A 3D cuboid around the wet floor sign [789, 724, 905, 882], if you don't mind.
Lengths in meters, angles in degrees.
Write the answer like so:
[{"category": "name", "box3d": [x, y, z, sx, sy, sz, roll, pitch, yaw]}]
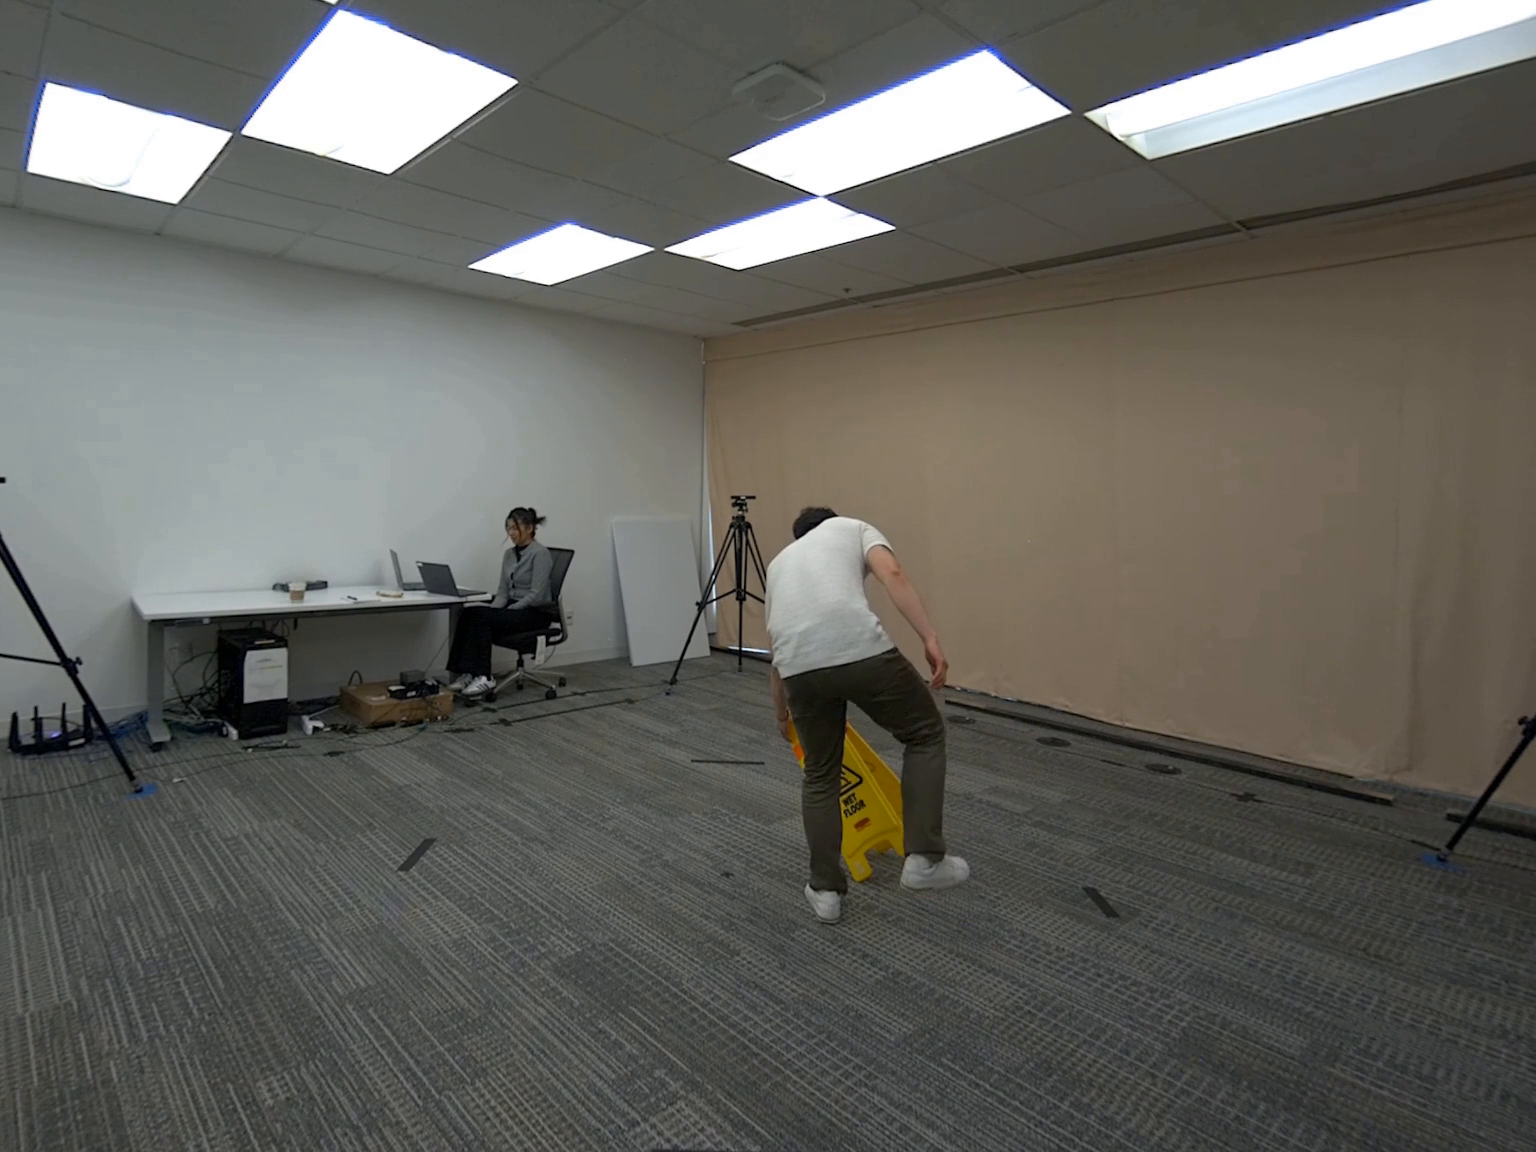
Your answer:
[{"category": "wet floor sign", "box3d": [0.303, 0.772, 3.227, 0.283, 0.656, 0.284, -38, -15, 21]}]
